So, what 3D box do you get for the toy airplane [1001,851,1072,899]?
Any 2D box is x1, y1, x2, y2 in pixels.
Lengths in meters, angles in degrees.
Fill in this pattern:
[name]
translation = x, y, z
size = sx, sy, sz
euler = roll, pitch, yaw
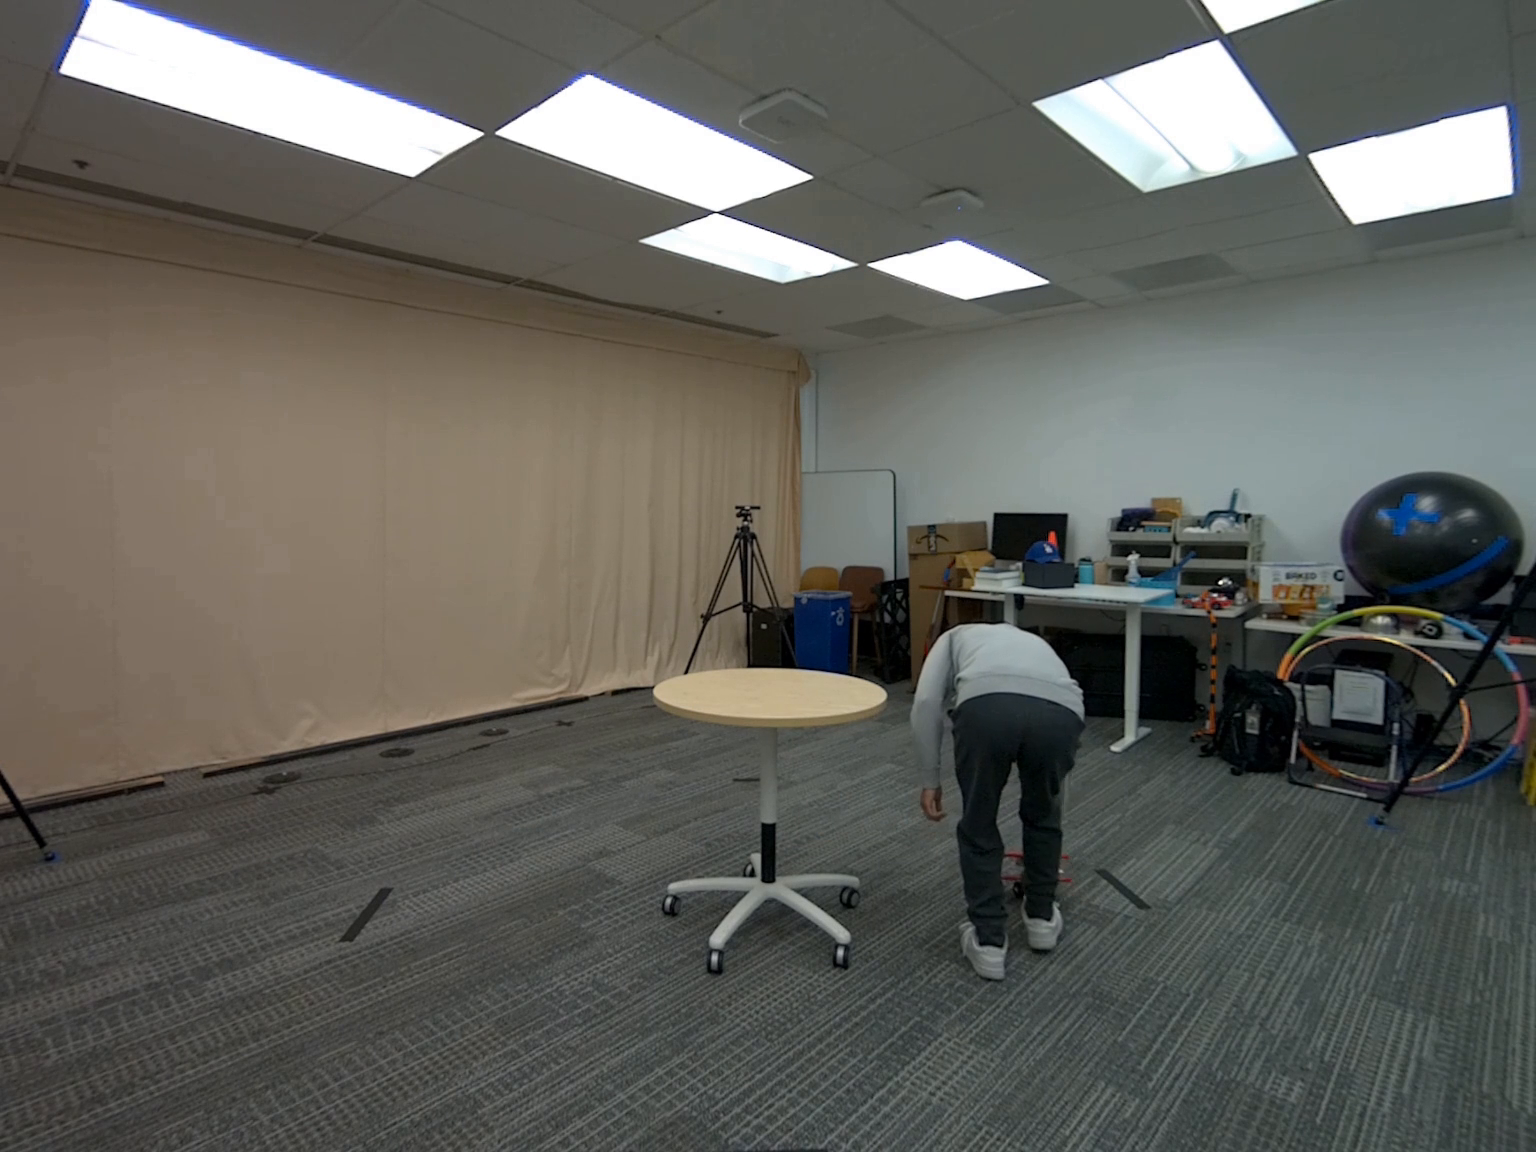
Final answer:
[toy airplane]
translation = 0.956, 1.037, 2.944
size = 0.245, 0.159, 0.261
euler = 16, -32, -21
